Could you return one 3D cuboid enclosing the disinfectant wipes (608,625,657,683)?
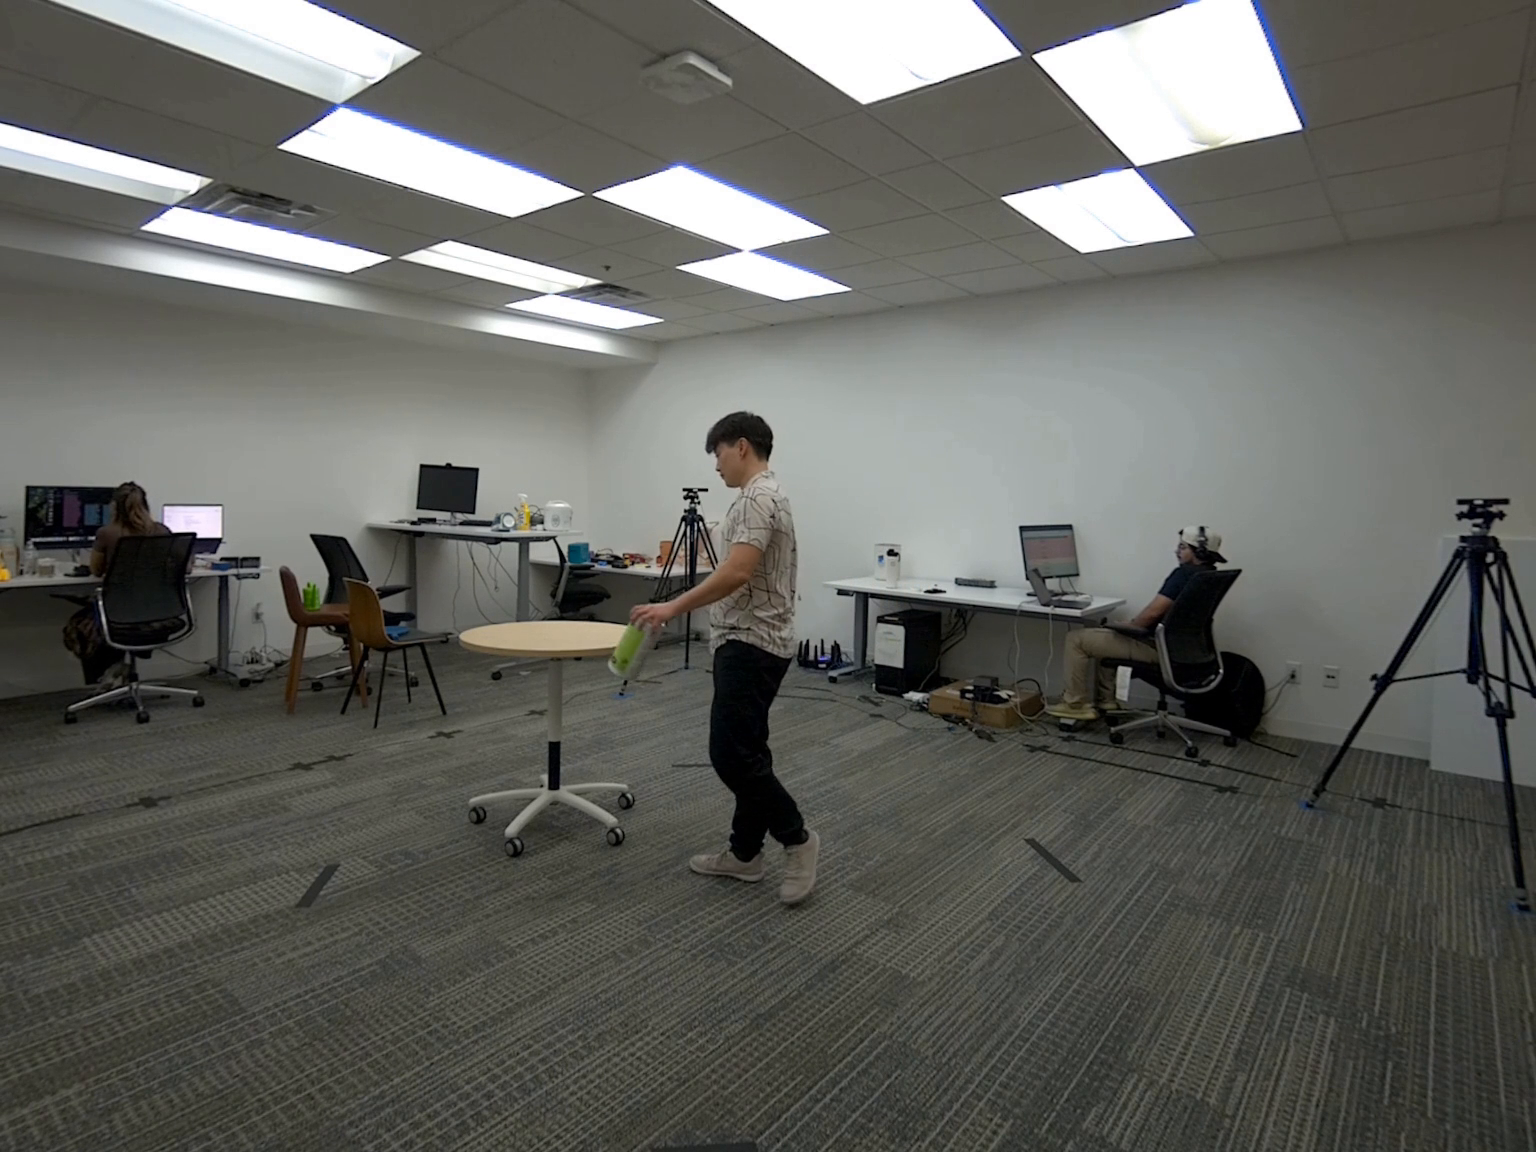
[{"bbox_3d":[-0.431,0.224,2.798,0.116,0.216,0.120,25,14,-9],"label":"disinfectant wipes"}]
